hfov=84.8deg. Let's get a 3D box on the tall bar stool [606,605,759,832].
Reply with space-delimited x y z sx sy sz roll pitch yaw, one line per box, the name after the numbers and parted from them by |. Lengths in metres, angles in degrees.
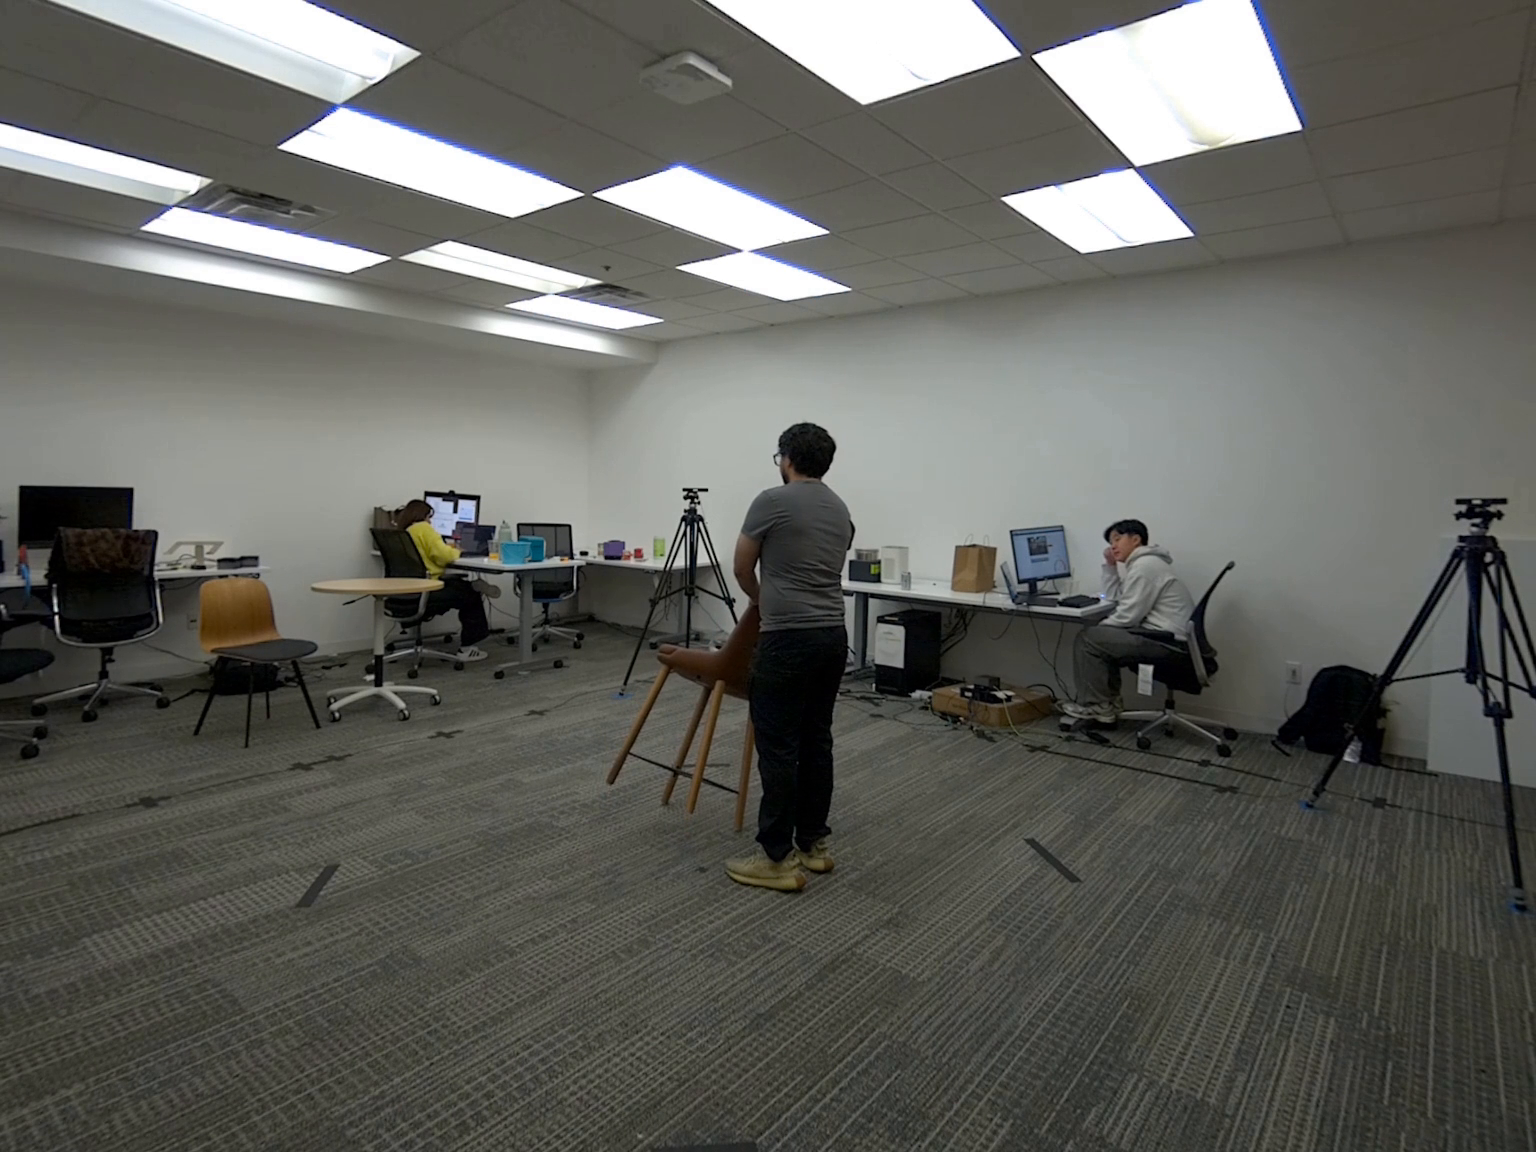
-0.259 0.545 3.602 0.484 0.897 0.437 7 -19 38 | tall bar stool
